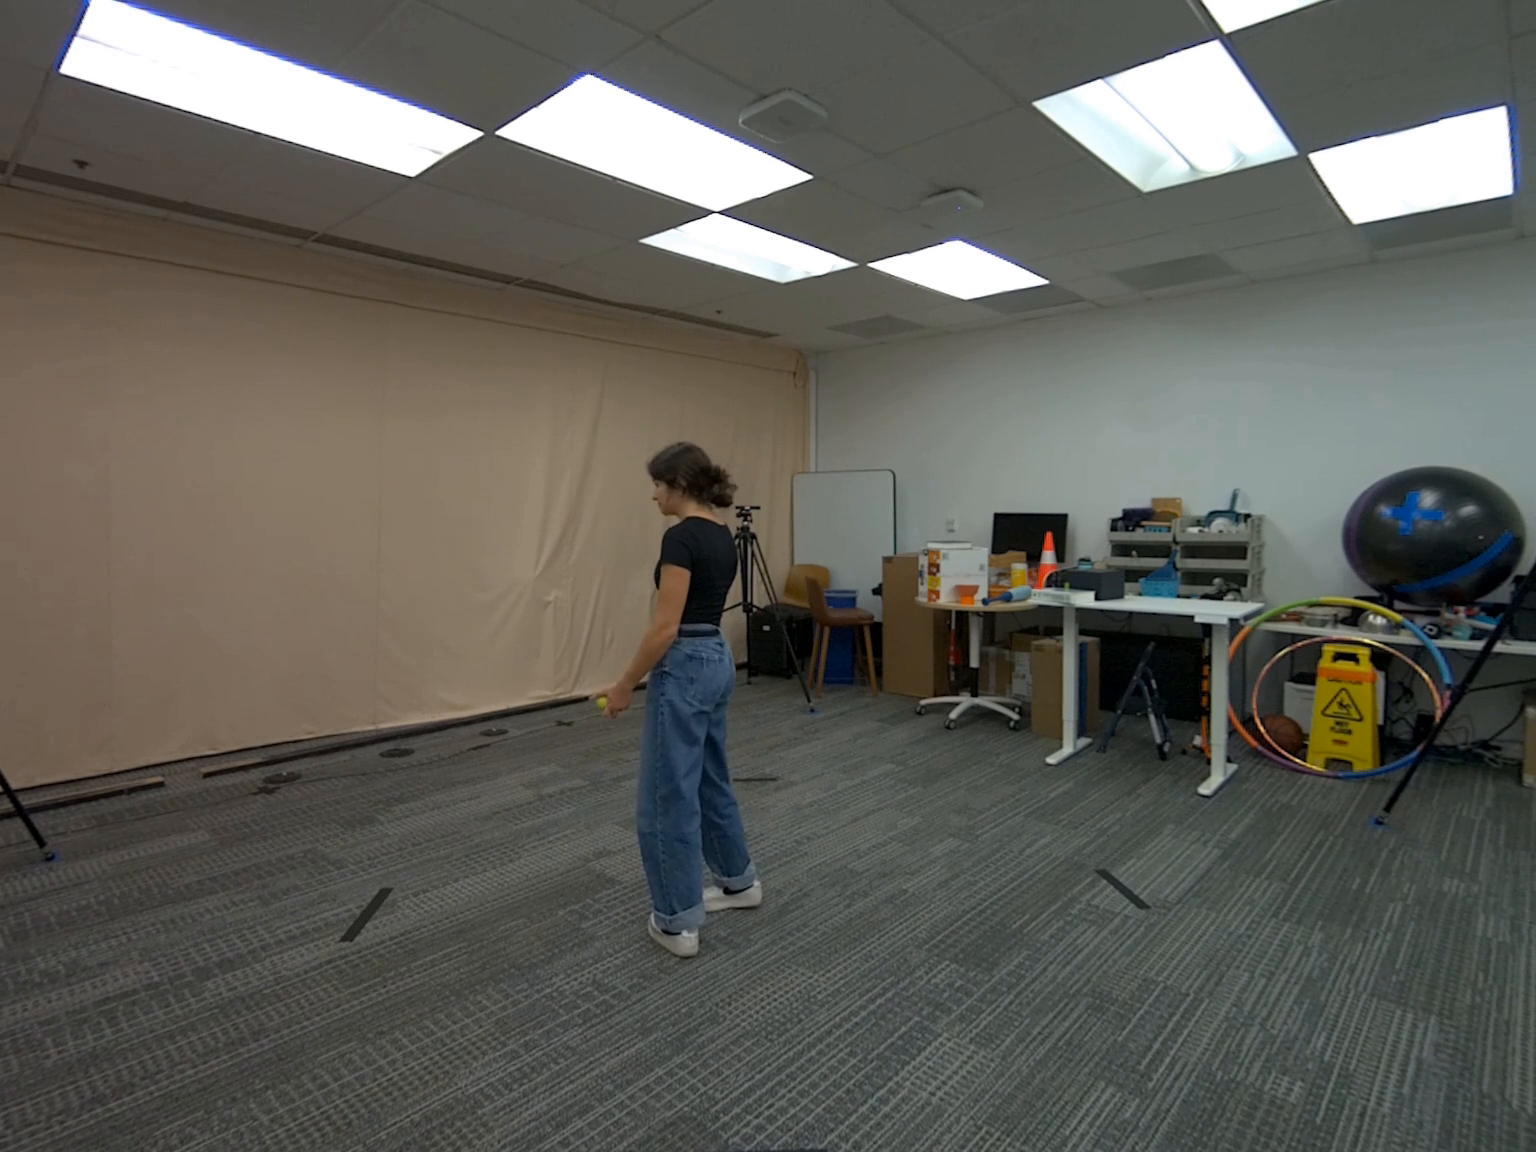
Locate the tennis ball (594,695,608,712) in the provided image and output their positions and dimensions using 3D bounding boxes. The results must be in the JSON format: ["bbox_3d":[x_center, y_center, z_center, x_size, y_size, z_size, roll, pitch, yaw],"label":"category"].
[{"bbox_3d":[-0.489,0.436,2.623,0.066,0.066,0.067,0,4,-2],"label":"tennis ball"}]
